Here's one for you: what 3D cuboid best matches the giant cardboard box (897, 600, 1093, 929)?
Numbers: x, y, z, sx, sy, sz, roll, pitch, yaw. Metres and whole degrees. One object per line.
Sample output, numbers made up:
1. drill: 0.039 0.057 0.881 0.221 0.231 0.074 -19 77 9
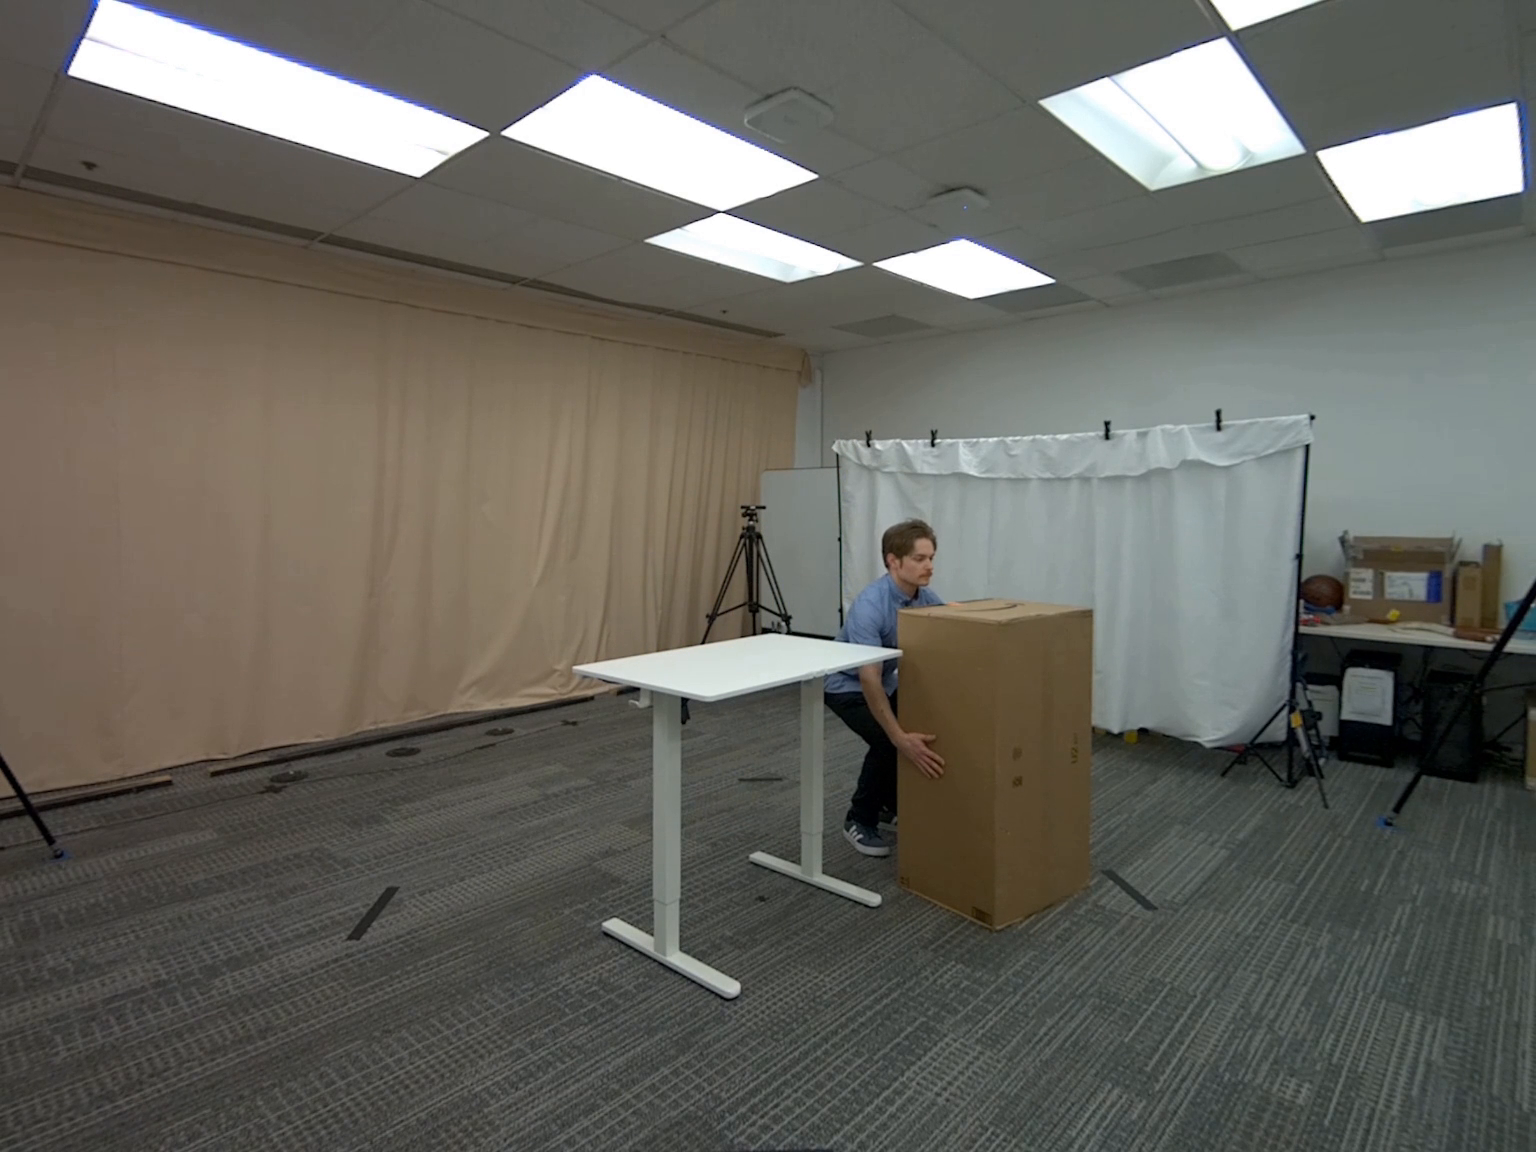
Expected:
1. giant cardboard box: 0.828 0.625 3.054 0.560 1.024 0.440 -2 4 -39
